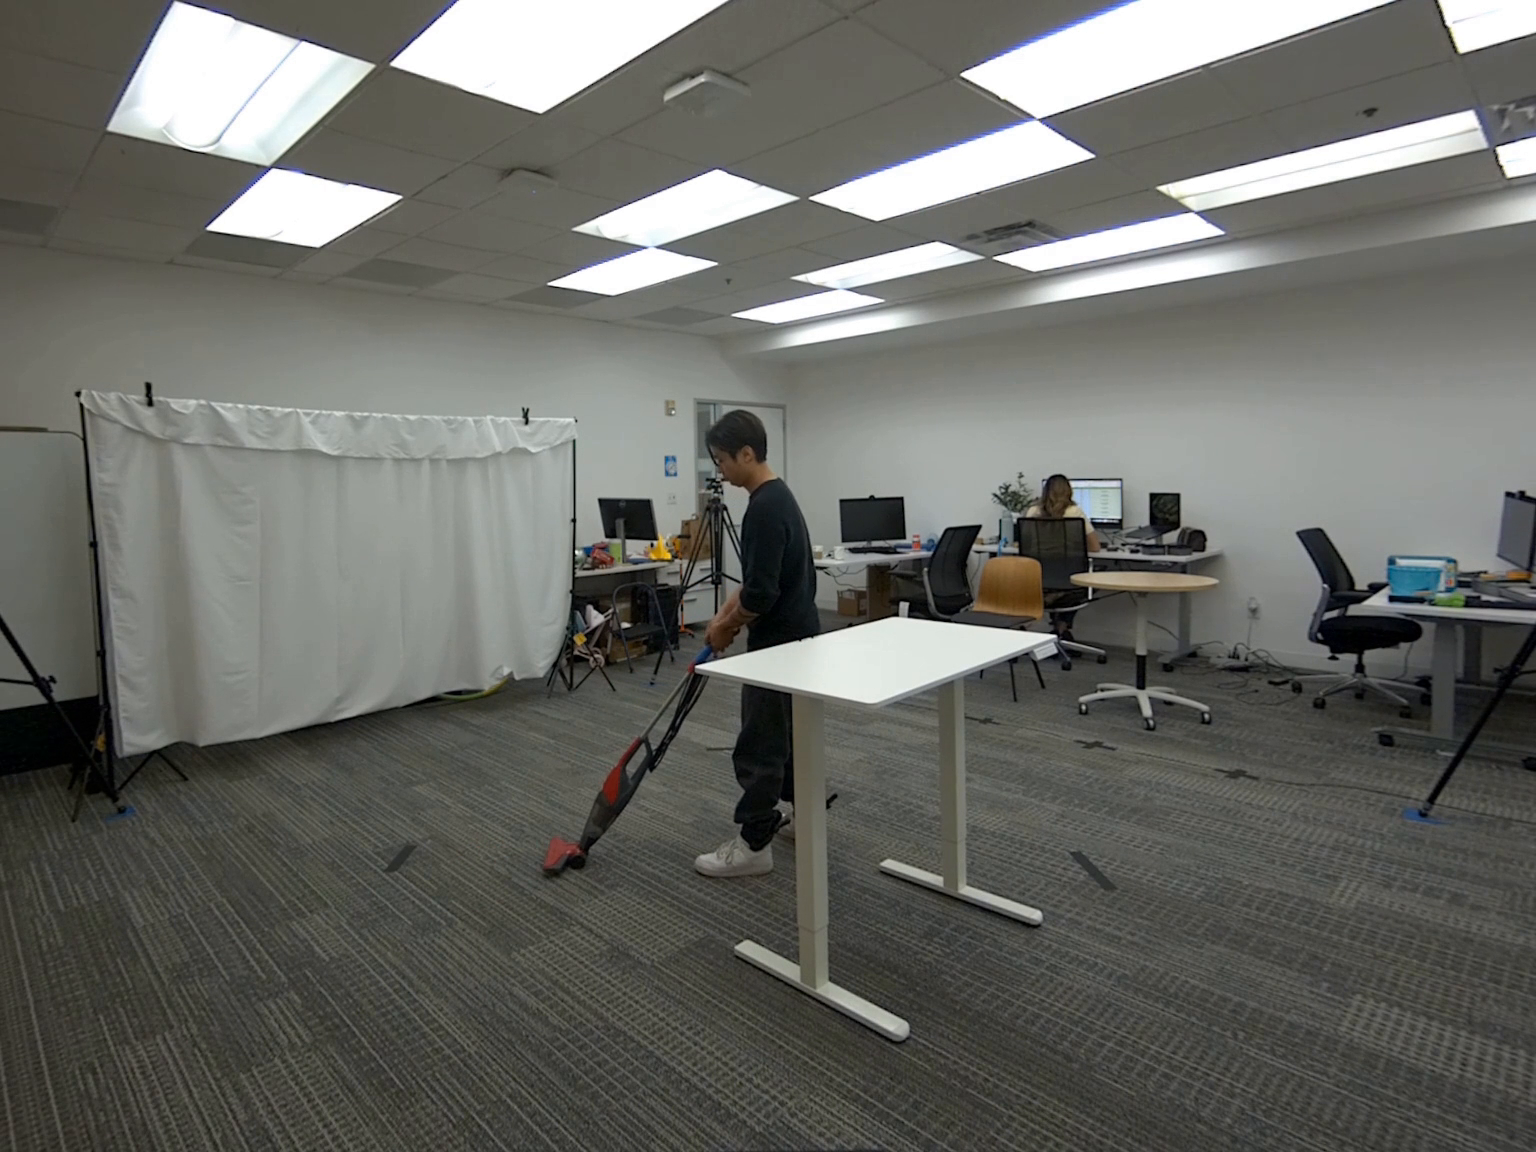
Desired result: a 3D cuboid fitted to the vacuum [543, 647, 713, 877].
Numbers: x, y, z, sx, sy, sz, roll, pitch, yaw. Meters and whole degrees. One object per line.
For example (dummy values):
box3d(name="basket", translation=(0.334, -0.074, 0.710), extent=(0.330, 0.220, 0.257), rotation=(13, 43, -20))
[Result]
box3d(name="vacuum", translation=(-0.434, 0.622, 3.137), extent=(0.141, 1.049, 0.257), rotation=(37, 0, -14))
